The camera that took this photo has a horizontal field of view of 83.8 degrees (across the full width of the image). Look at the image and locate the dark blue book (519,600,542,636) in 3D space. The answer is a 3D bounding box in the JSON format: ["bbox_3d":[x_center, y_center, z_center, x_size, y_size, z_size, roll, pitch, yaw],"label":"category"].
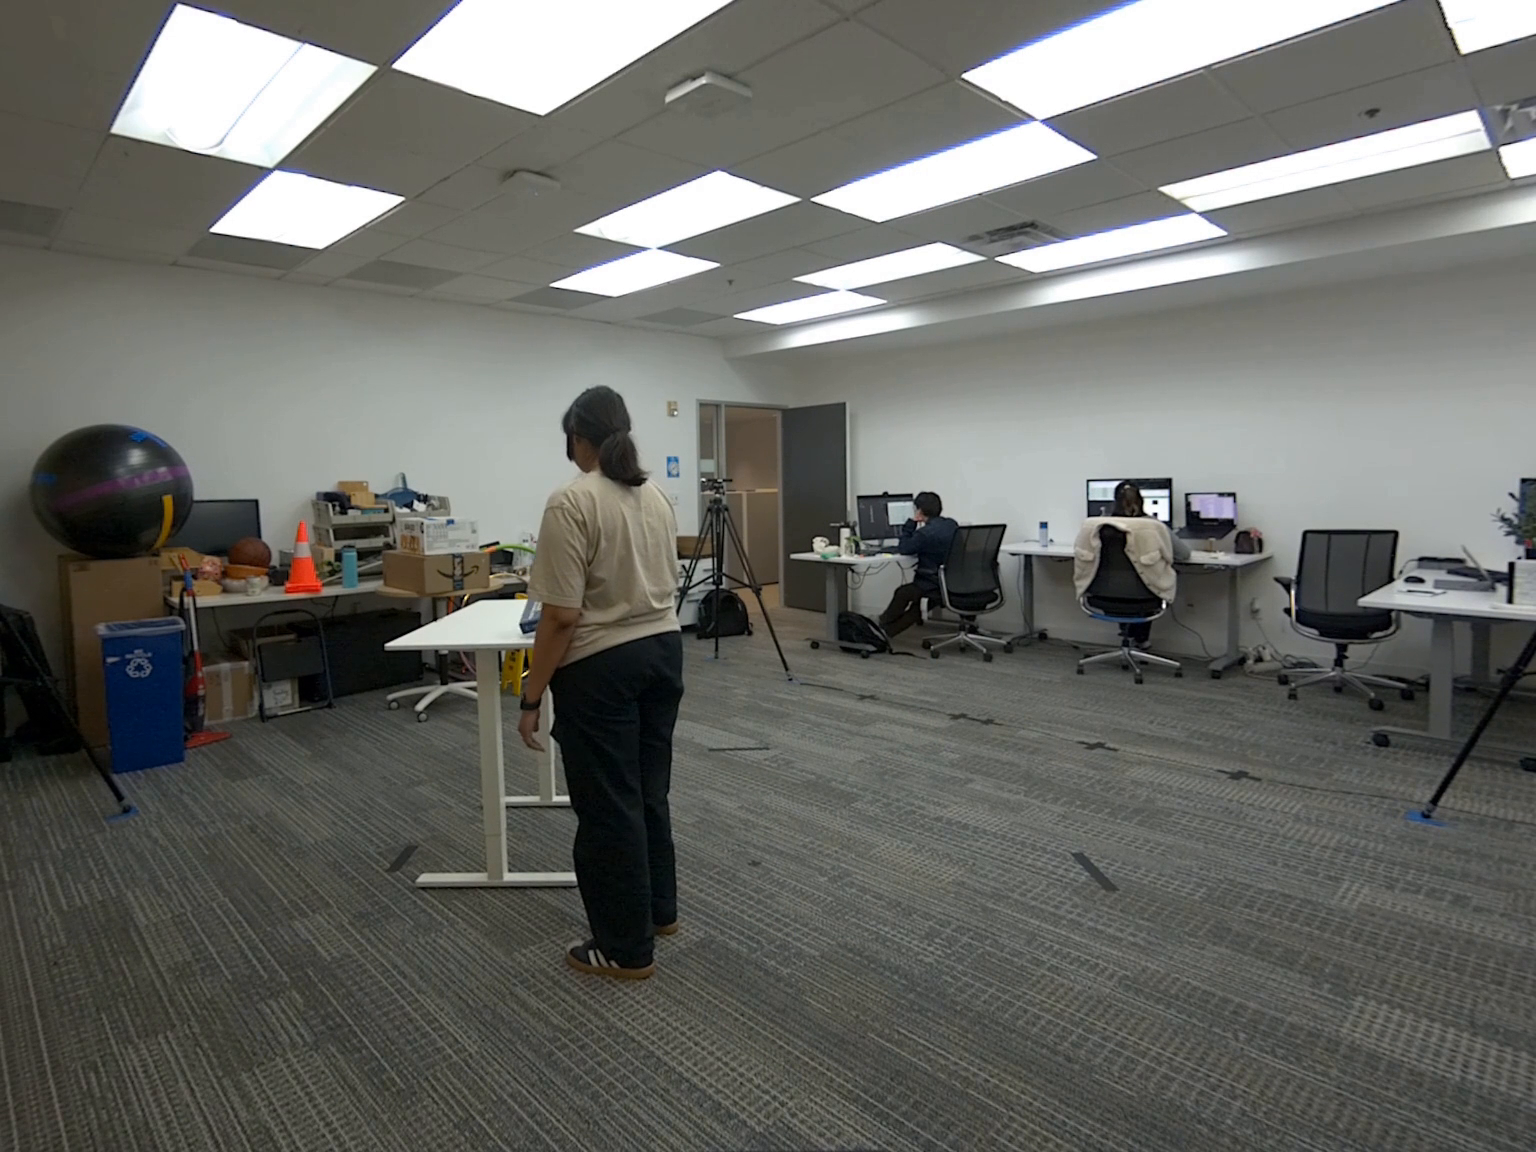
[{"bbox_3d":[-0.712,0.105,2.906,0.246,0.044,0.167,-14,29,8],"label":"dark blue book"}]
